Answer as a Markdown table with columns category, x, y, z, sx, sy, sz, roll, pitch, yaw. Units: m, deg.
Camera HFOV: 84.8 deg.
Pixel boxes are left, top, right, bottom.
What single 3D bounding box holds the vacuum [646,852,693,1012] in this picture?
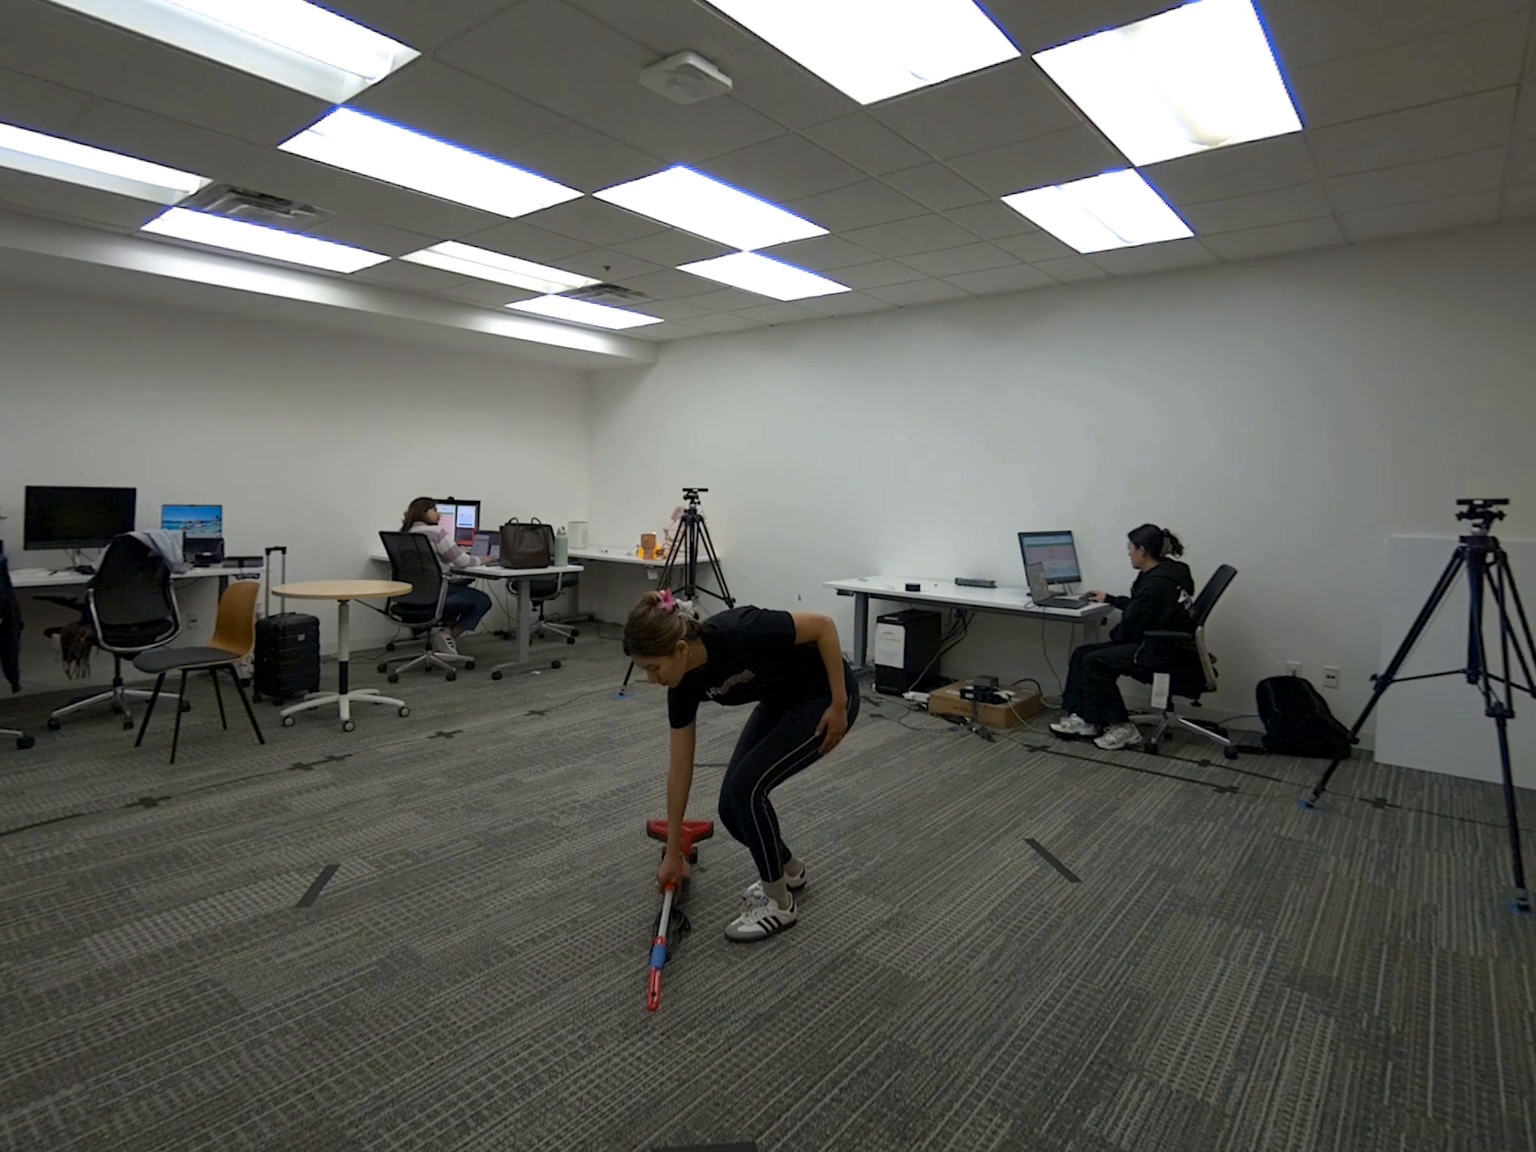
| category | x | y | z | sx | sy | sz | roll | pitch | yaw |
| --- | --- | --- | --- | --- | --- | --- | --- | --- | --- |
| vacuum | -0.316 | 1.035 | 2.669 | 0.252 | 0.143 | 1.055 | -1 | 5 | -3 |
